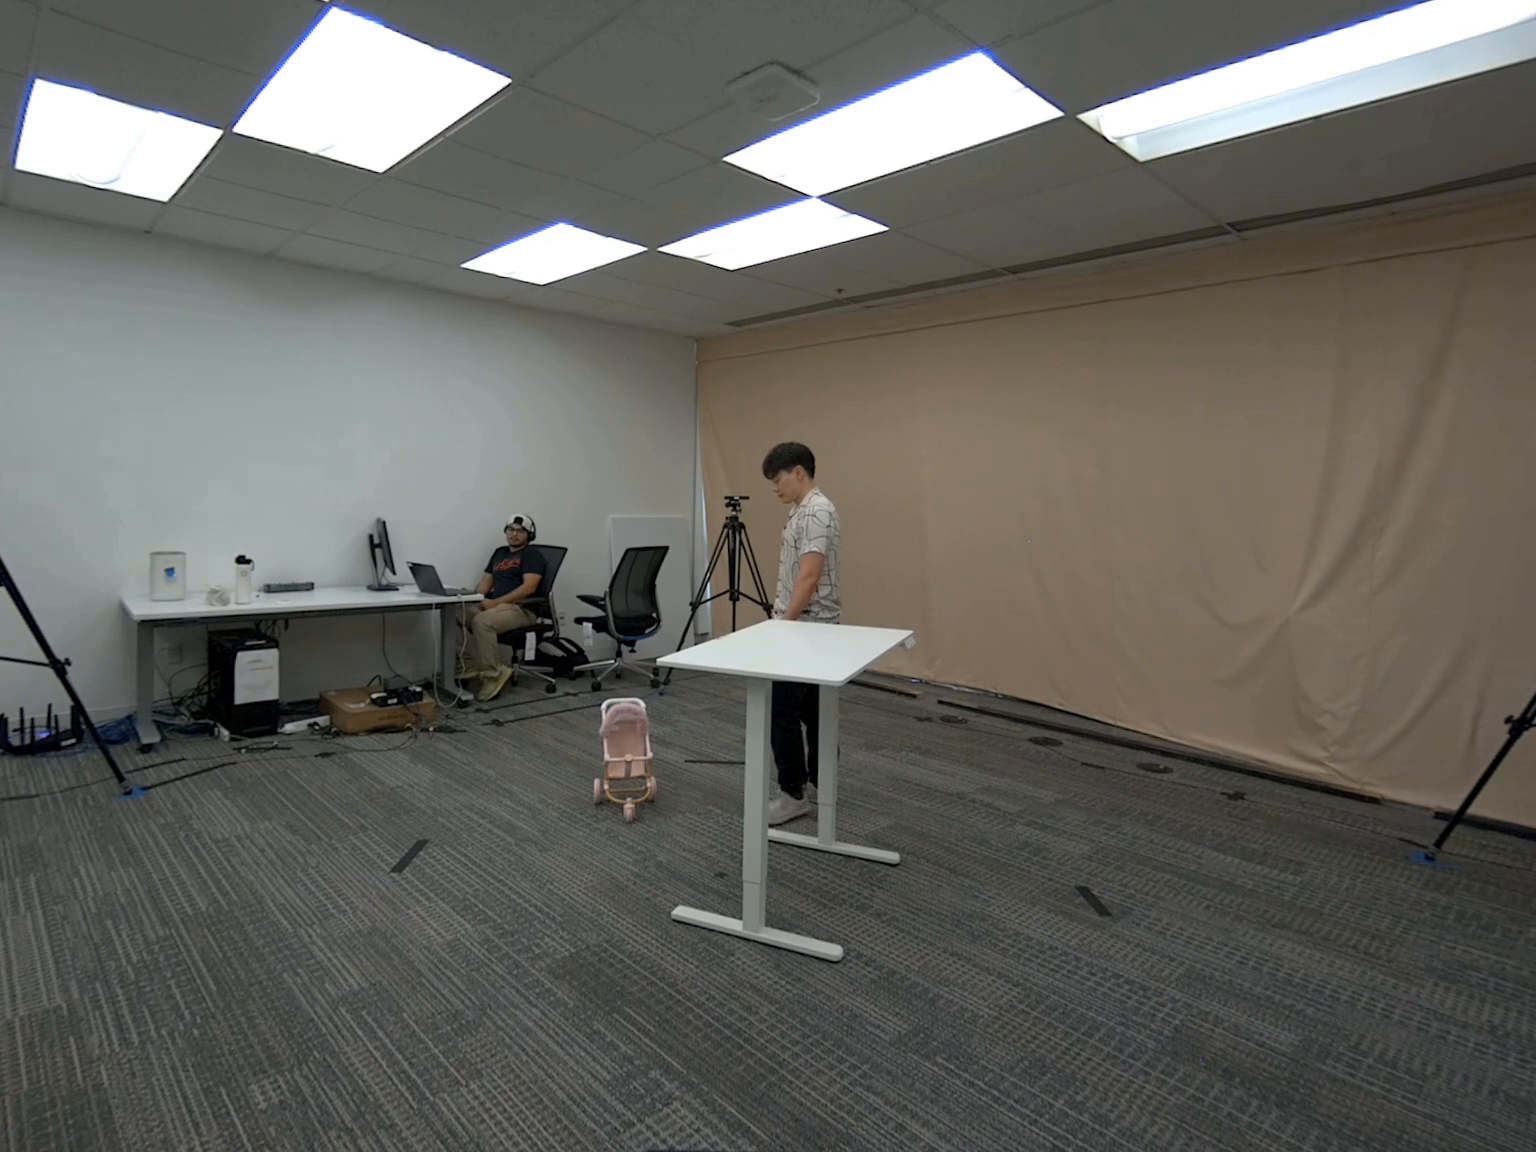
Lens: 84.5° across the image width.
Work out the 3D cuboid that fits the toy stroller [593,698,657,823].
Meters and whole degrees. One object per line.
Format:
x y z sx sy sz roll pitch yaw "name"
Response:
-0.647 0.808 3.758 0.279 0.540 0.341 0 -12 -11 "toy stroller"
